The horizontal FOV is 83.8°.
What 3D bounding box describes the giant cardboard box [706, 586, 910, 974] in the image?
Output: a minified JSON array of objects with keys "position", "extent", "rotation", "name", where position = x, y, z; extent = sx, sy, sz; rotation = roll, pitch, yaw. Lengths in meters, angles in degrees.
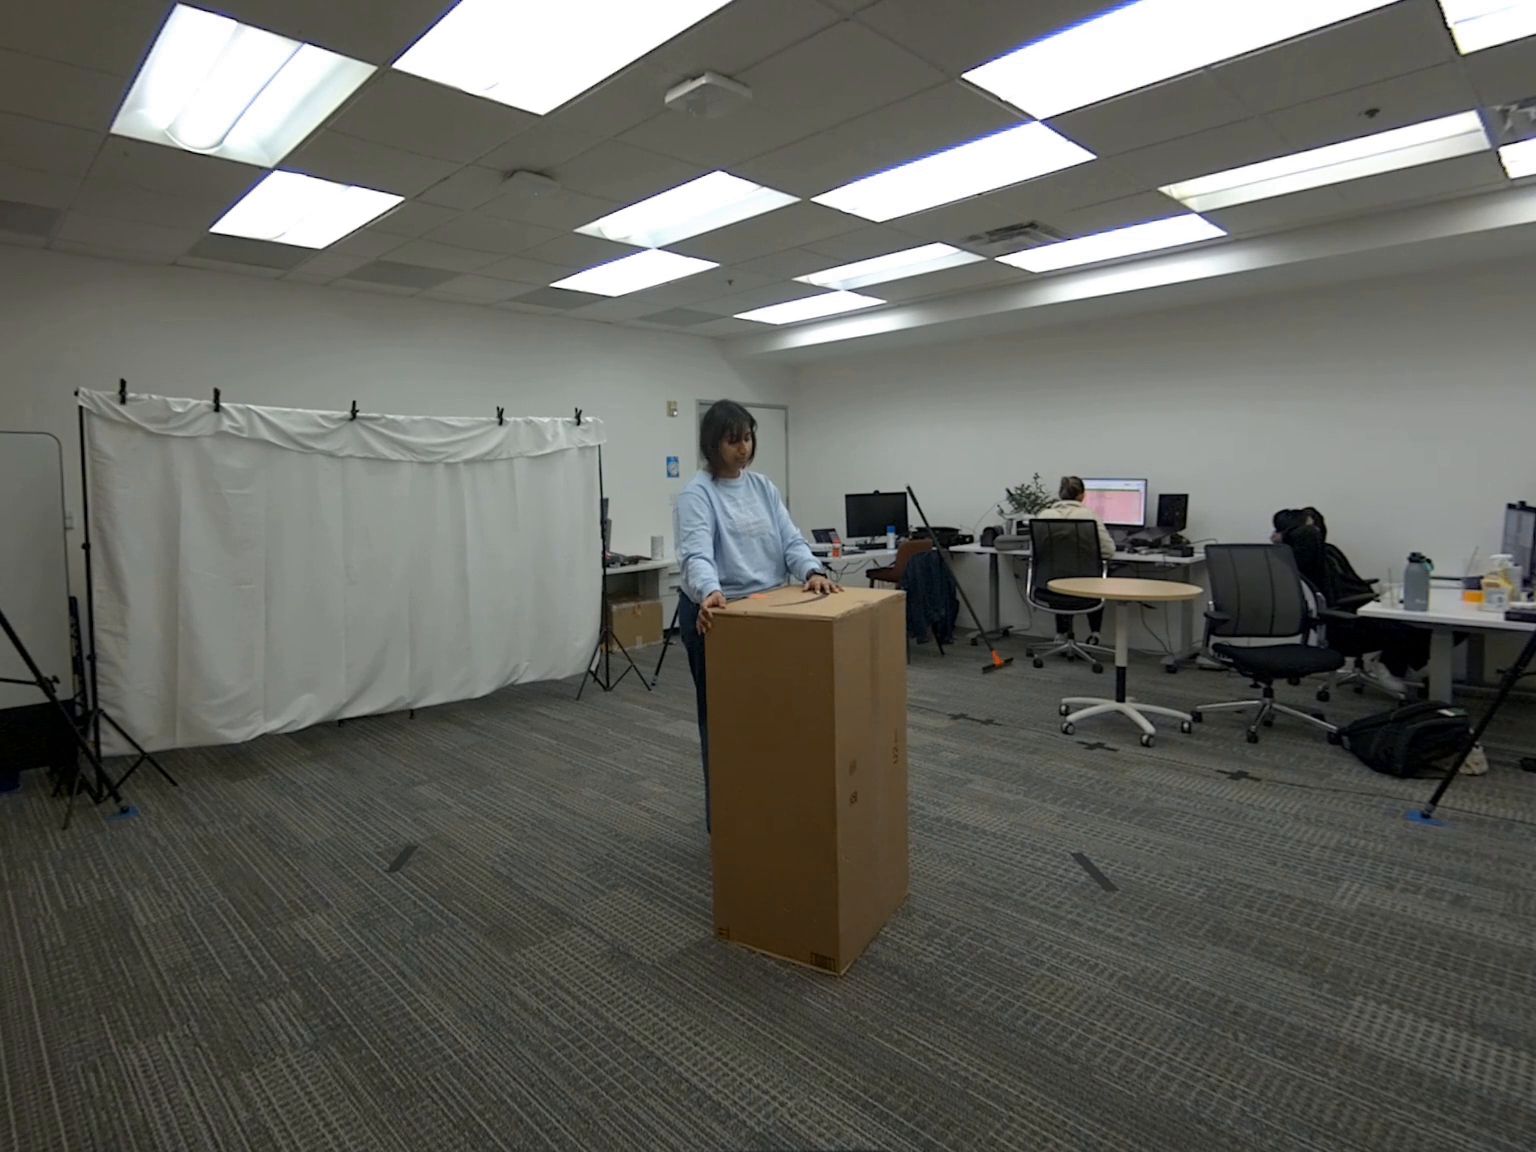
[{"position":[0.146,0.584,2.696],"extent":[0.458,1.023,0.571],"rotation":[1,6,30],"name":"giant cardboard box"}]
